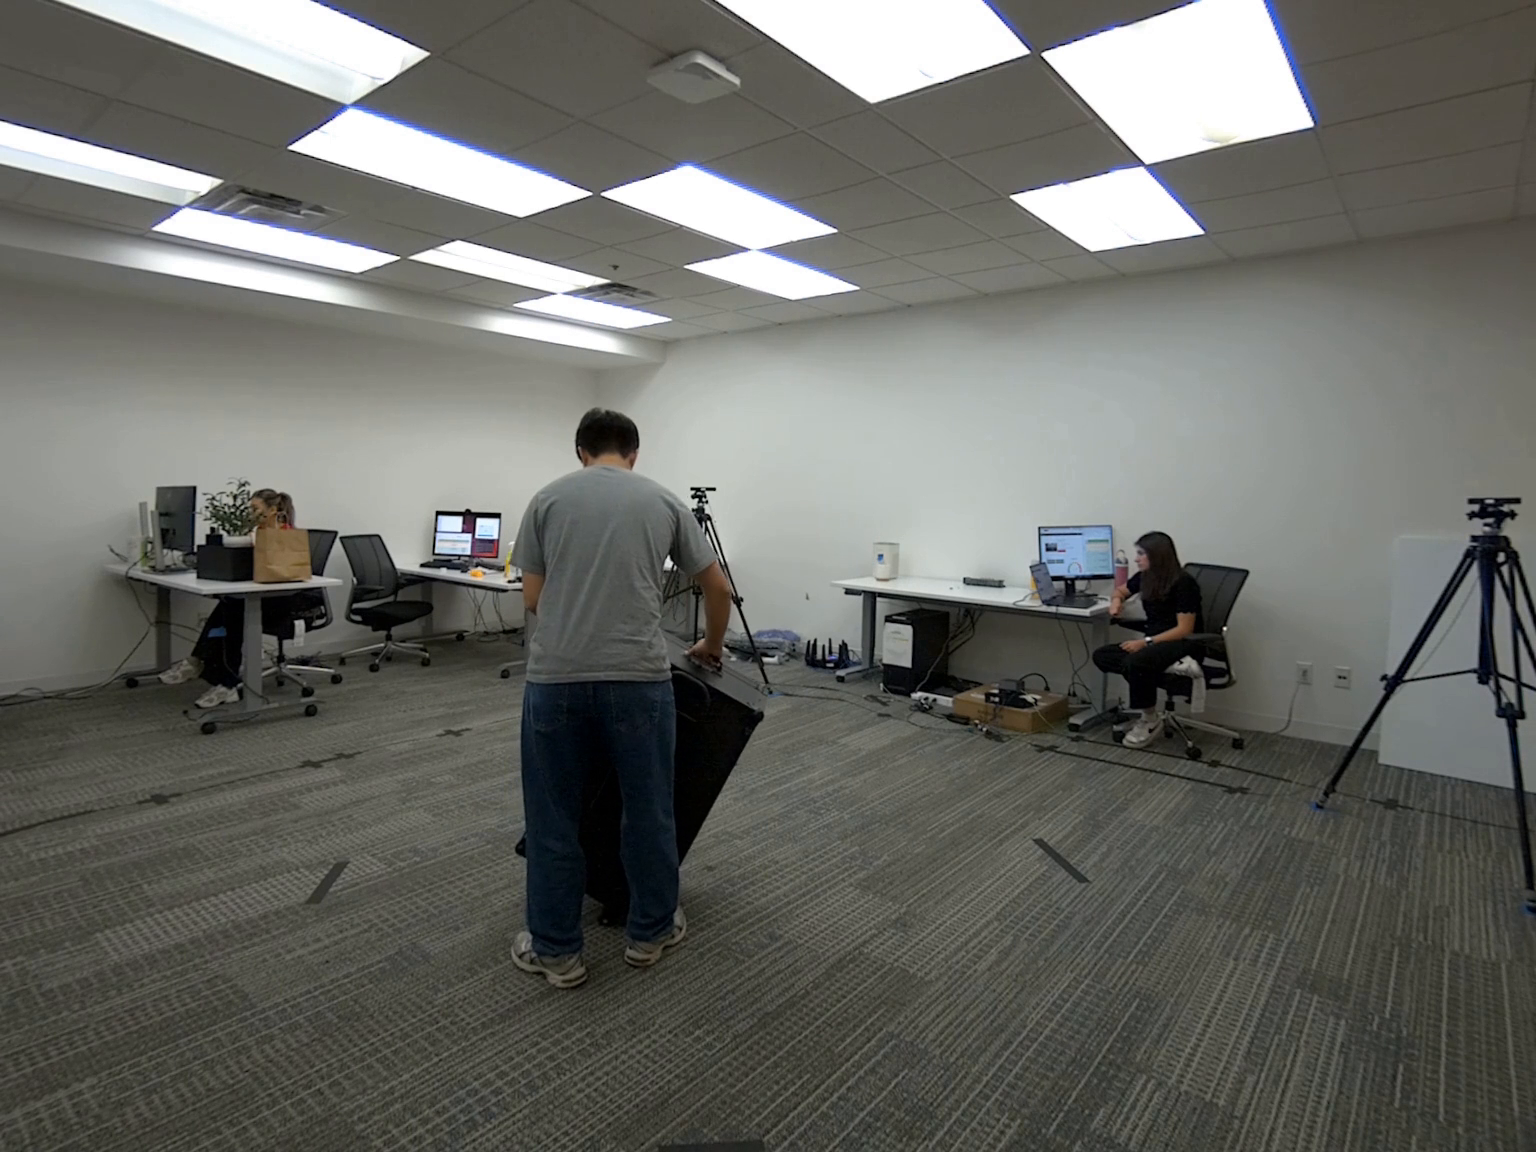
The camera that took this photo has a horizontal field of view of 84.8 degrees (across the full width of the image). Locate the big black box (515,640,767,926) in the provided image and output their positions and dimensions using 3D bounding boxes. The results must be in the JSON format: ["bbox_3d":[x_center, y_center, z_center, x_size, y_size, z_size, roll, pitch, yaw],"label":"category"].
[{"bbox_3d":[-0.427,0.661,2.799,0.525,0.859,0.395,28,6,3],"label":"big black box"}]
